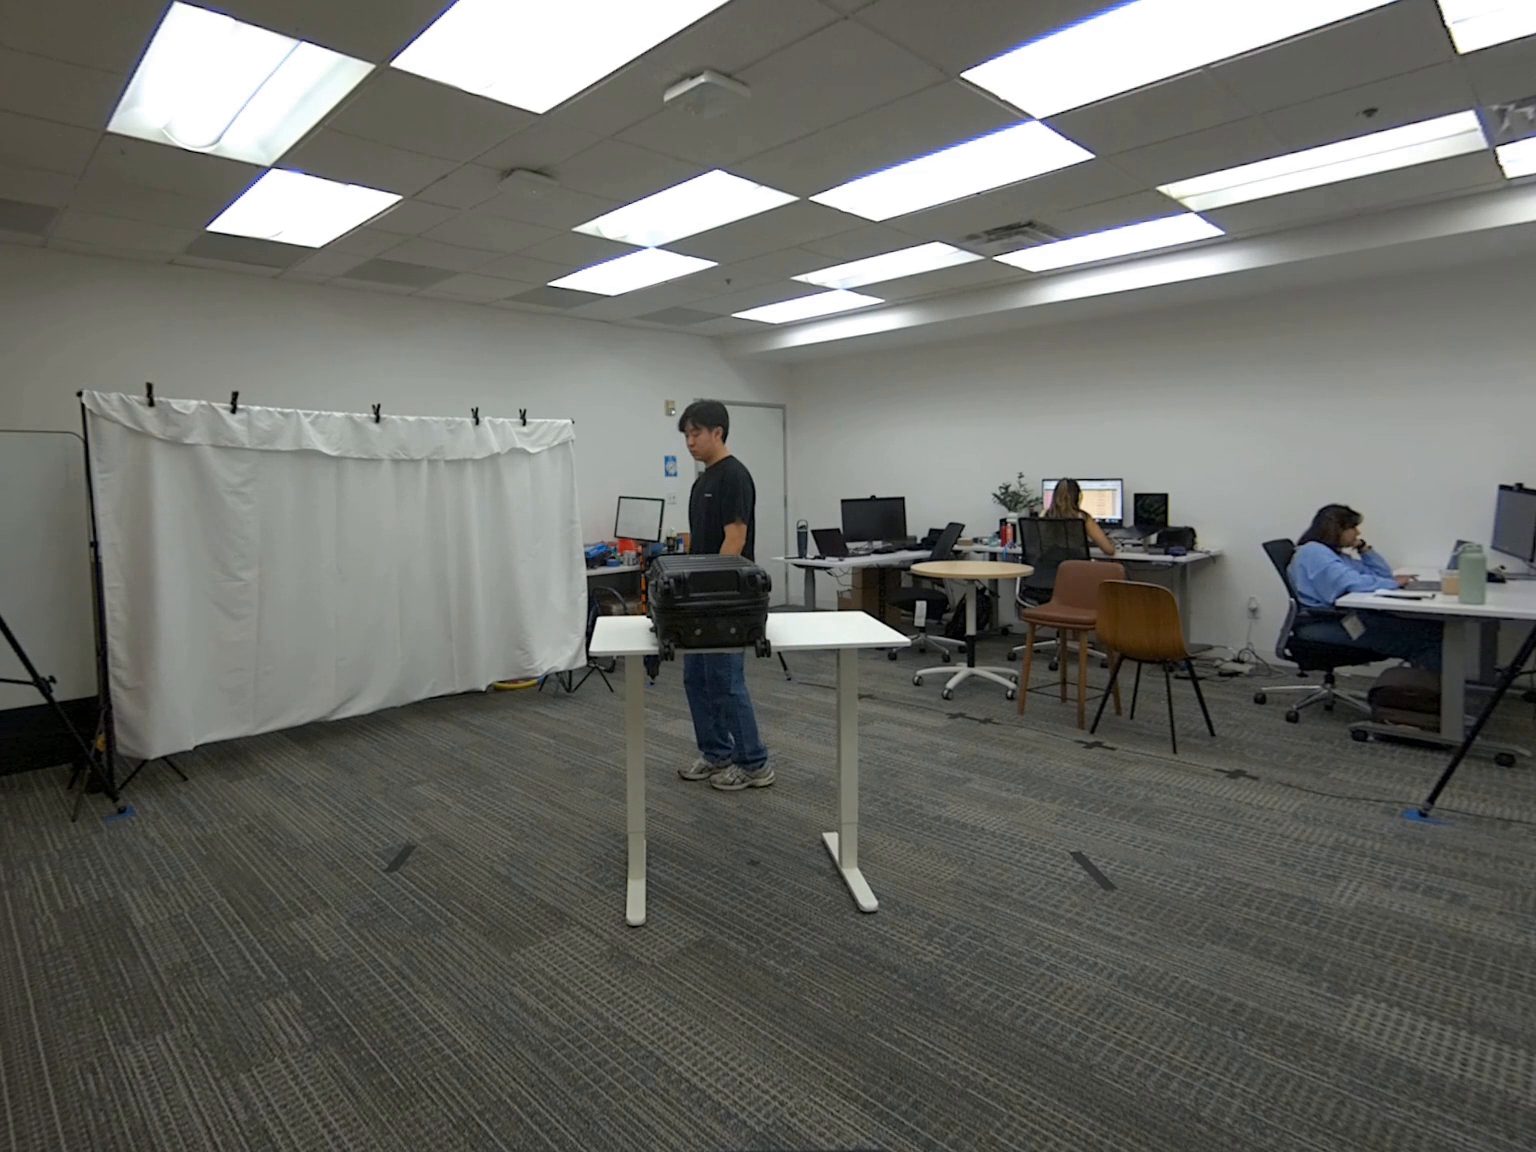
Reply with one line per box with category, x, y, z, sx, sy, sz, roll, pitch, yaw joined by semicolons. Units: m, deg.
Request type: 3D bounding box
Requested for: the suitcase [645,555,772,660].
suitcase;-0.248;0.051;2.996;0.380;0.255;0.995;-3;9;-11
